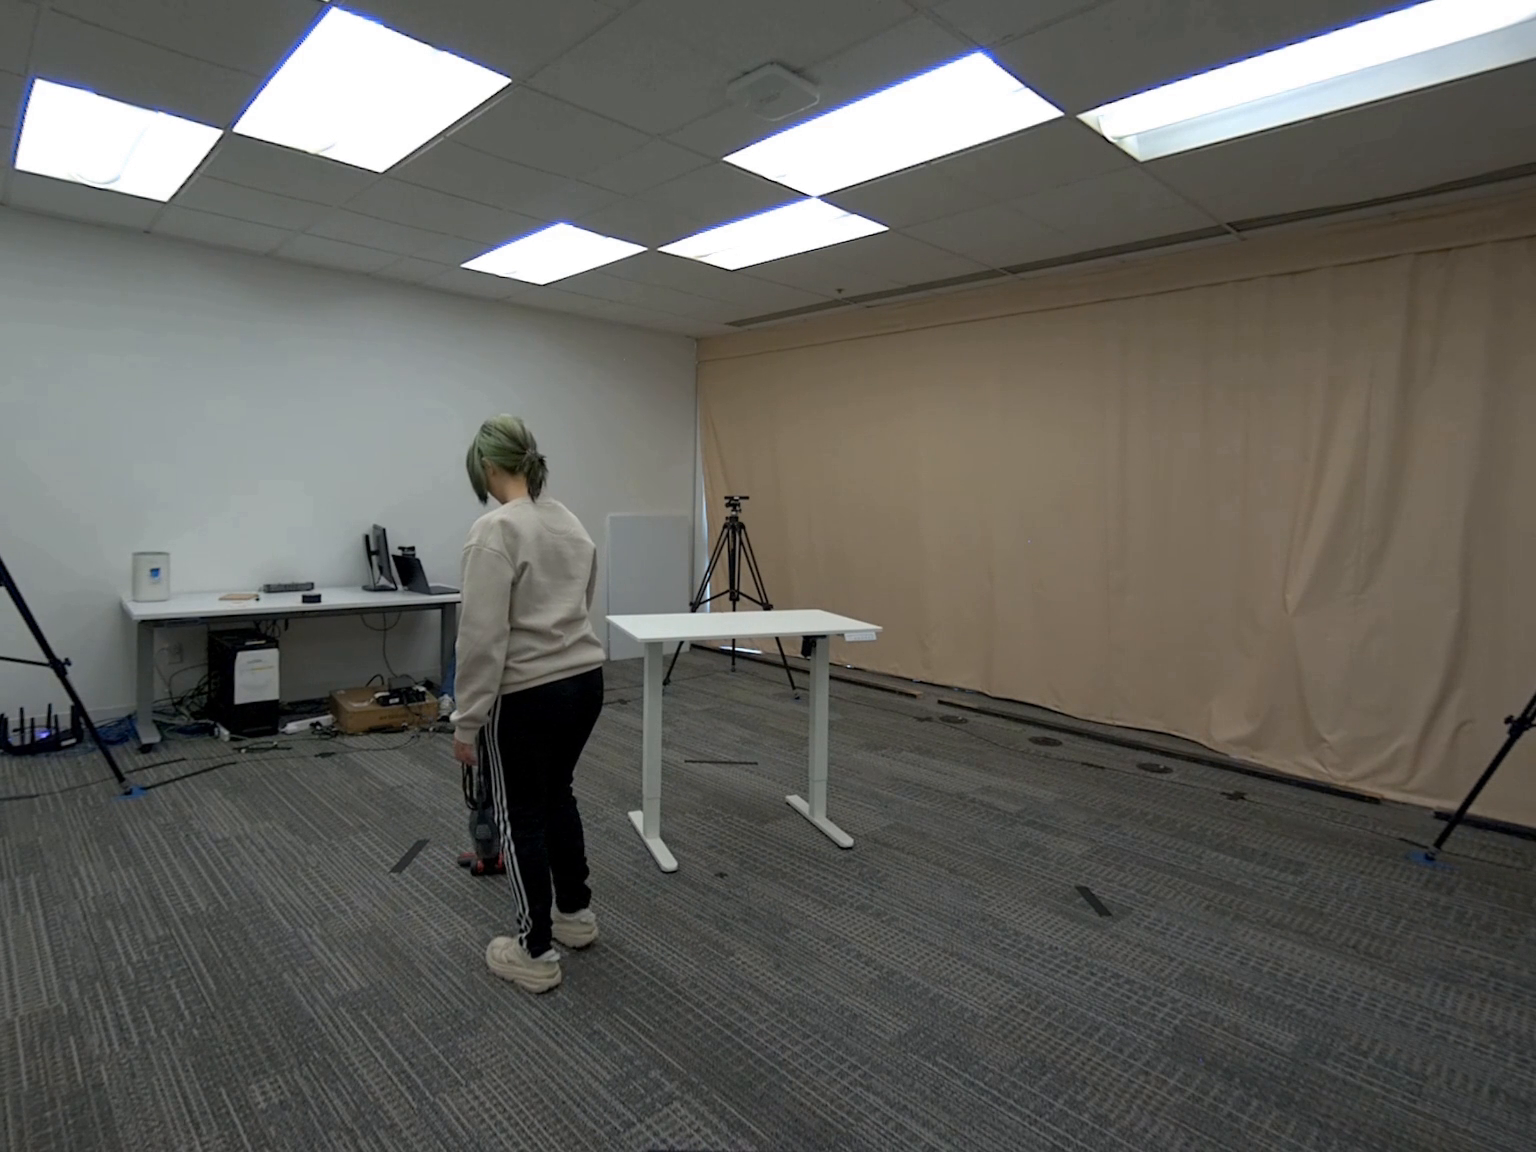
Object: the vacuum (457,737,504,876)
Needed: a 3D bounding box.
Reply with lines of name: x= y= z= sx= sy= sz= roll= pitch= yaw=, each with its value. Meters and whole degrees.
vacuum: x=-0.963 y=0.701 z=2.790 sx=0.250 sy=1.032 sz=0.148 roll=2 pitch=44 yaw=-12
